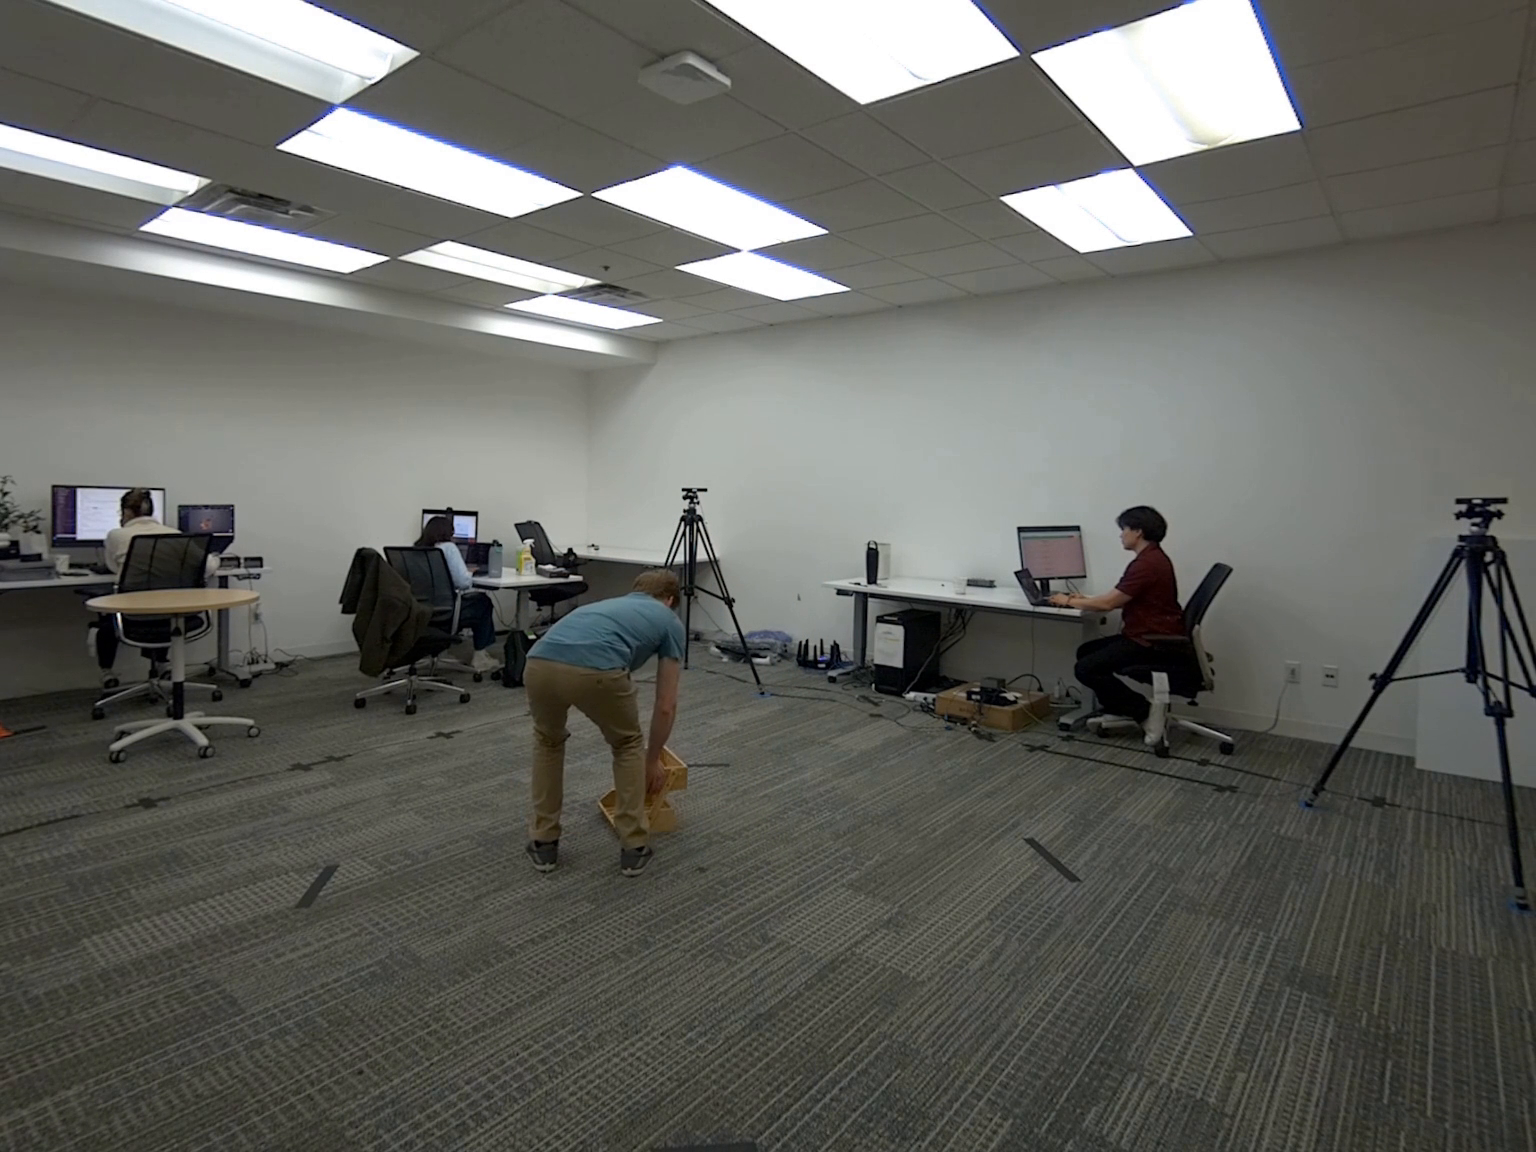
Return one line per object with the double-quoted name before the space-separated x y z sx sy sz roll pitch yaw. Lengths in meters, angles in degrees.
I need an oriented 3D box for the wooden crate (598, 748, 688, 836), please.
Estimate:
"wooden crate" -0.540 0.890 3.555 0.295 0.272 0.333 0 4 -25
